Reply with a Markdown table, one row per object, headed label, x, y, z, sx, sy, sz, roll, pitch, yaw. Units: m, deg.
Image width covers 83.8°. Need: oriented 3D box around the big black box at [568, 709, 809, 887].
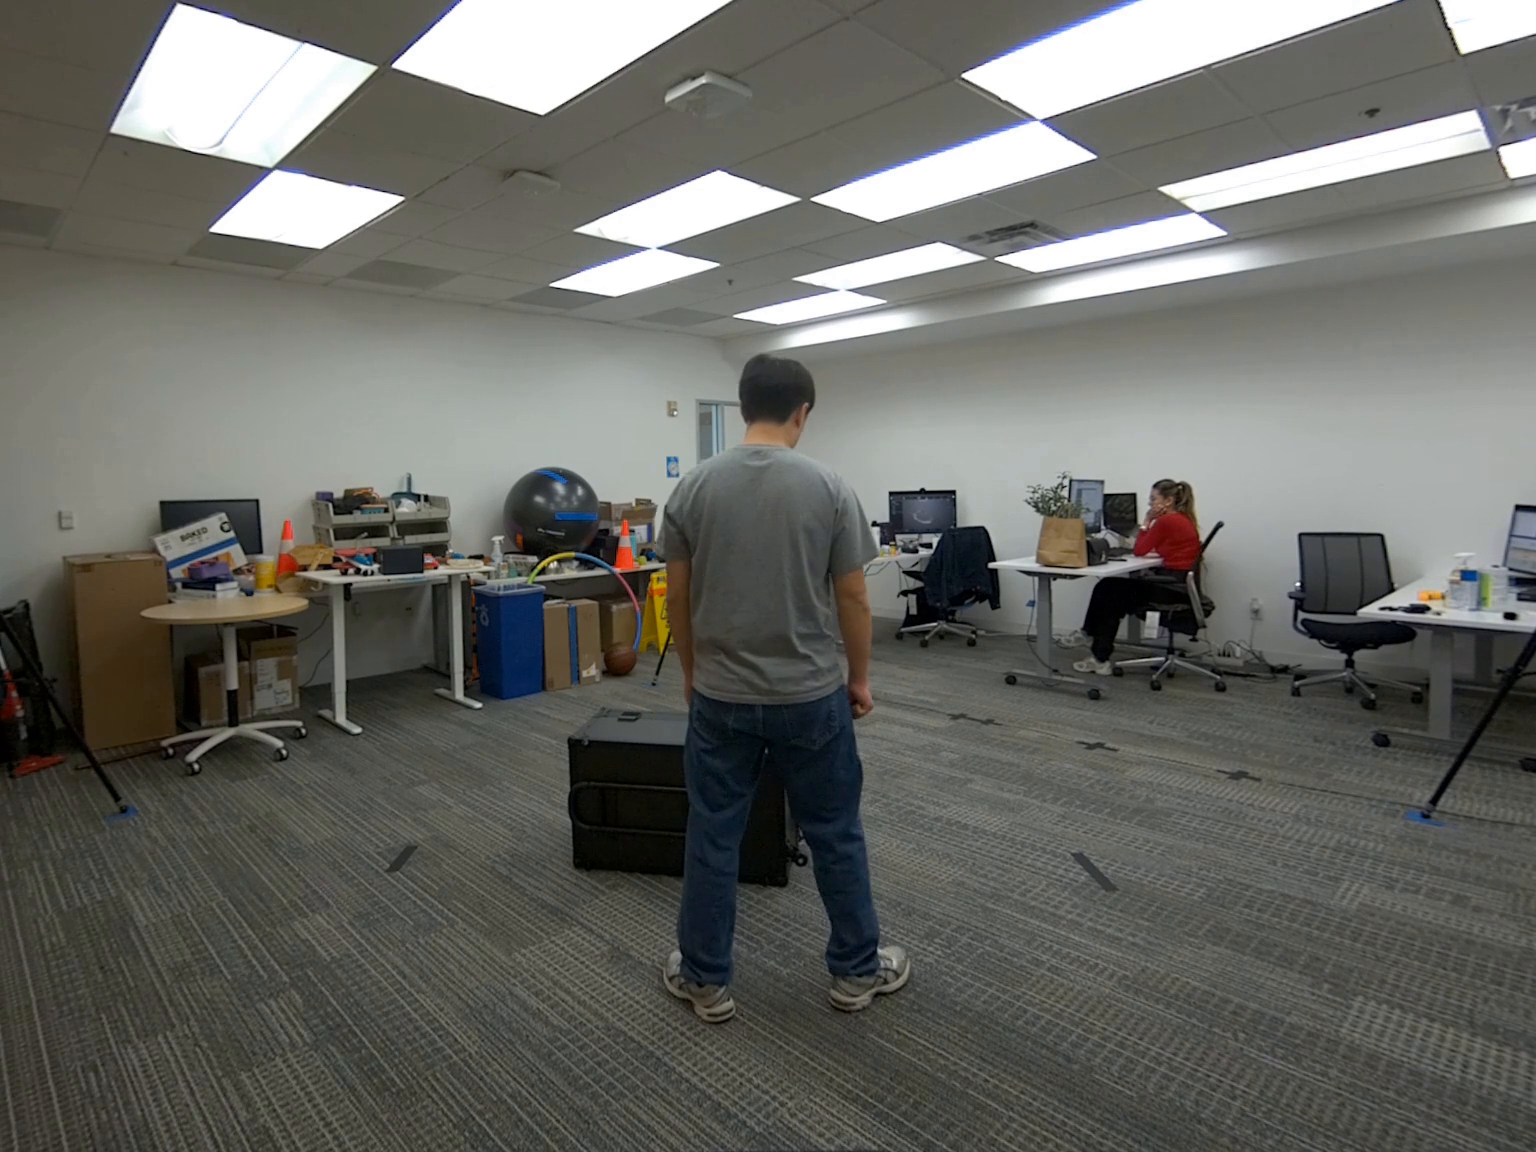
| label | x | y | z | sx | sy | sz | roll | pitch | yaw |
| --- | --- | --- | --- | --- | --- | --- | --- | --- | --- |
| big black box | -0.326 | 0.794 | 3.148 | 0.873 | 0.519 | 0.393 | 0 | 6 | 13 |
